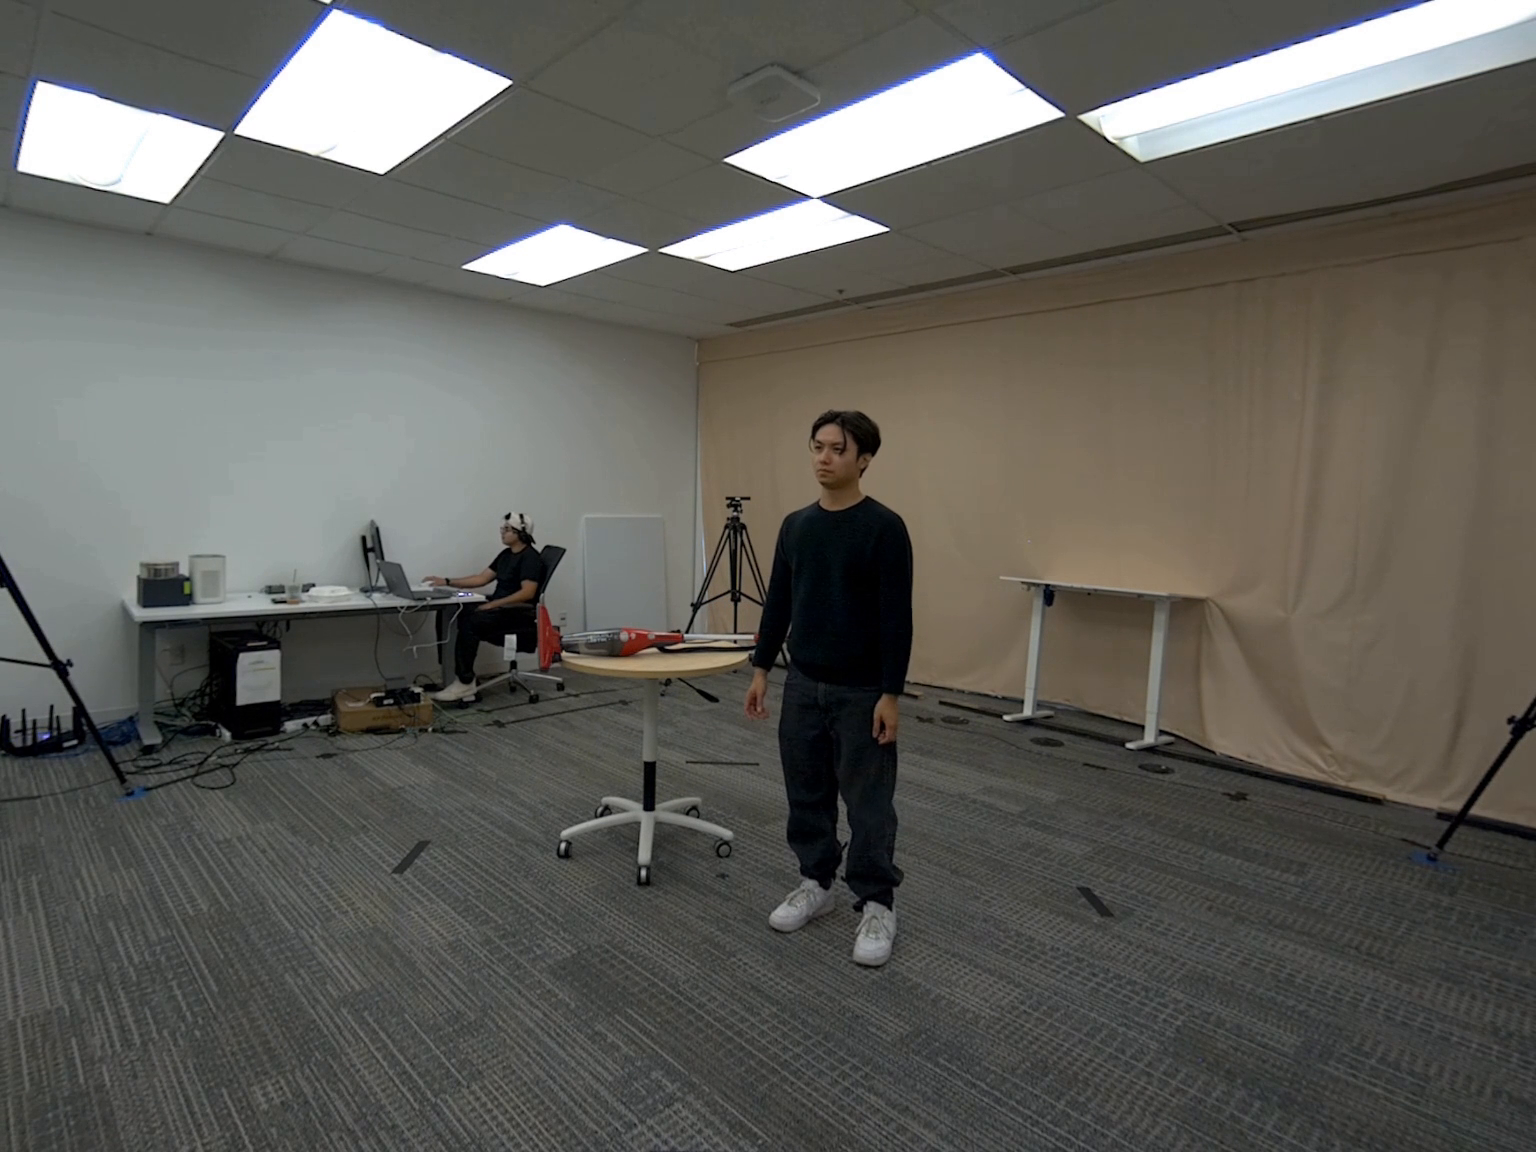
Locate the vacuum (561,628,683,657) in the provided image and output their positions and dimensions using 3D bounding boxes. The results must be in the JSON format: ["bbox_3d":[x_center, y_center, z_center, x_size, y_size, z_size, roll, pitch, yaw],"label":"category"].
[{"bbox_3d":[-0.347,0.266,3.281,1.031,0.257,0.144,3,-27,-23],"label":"vacuum"}]
